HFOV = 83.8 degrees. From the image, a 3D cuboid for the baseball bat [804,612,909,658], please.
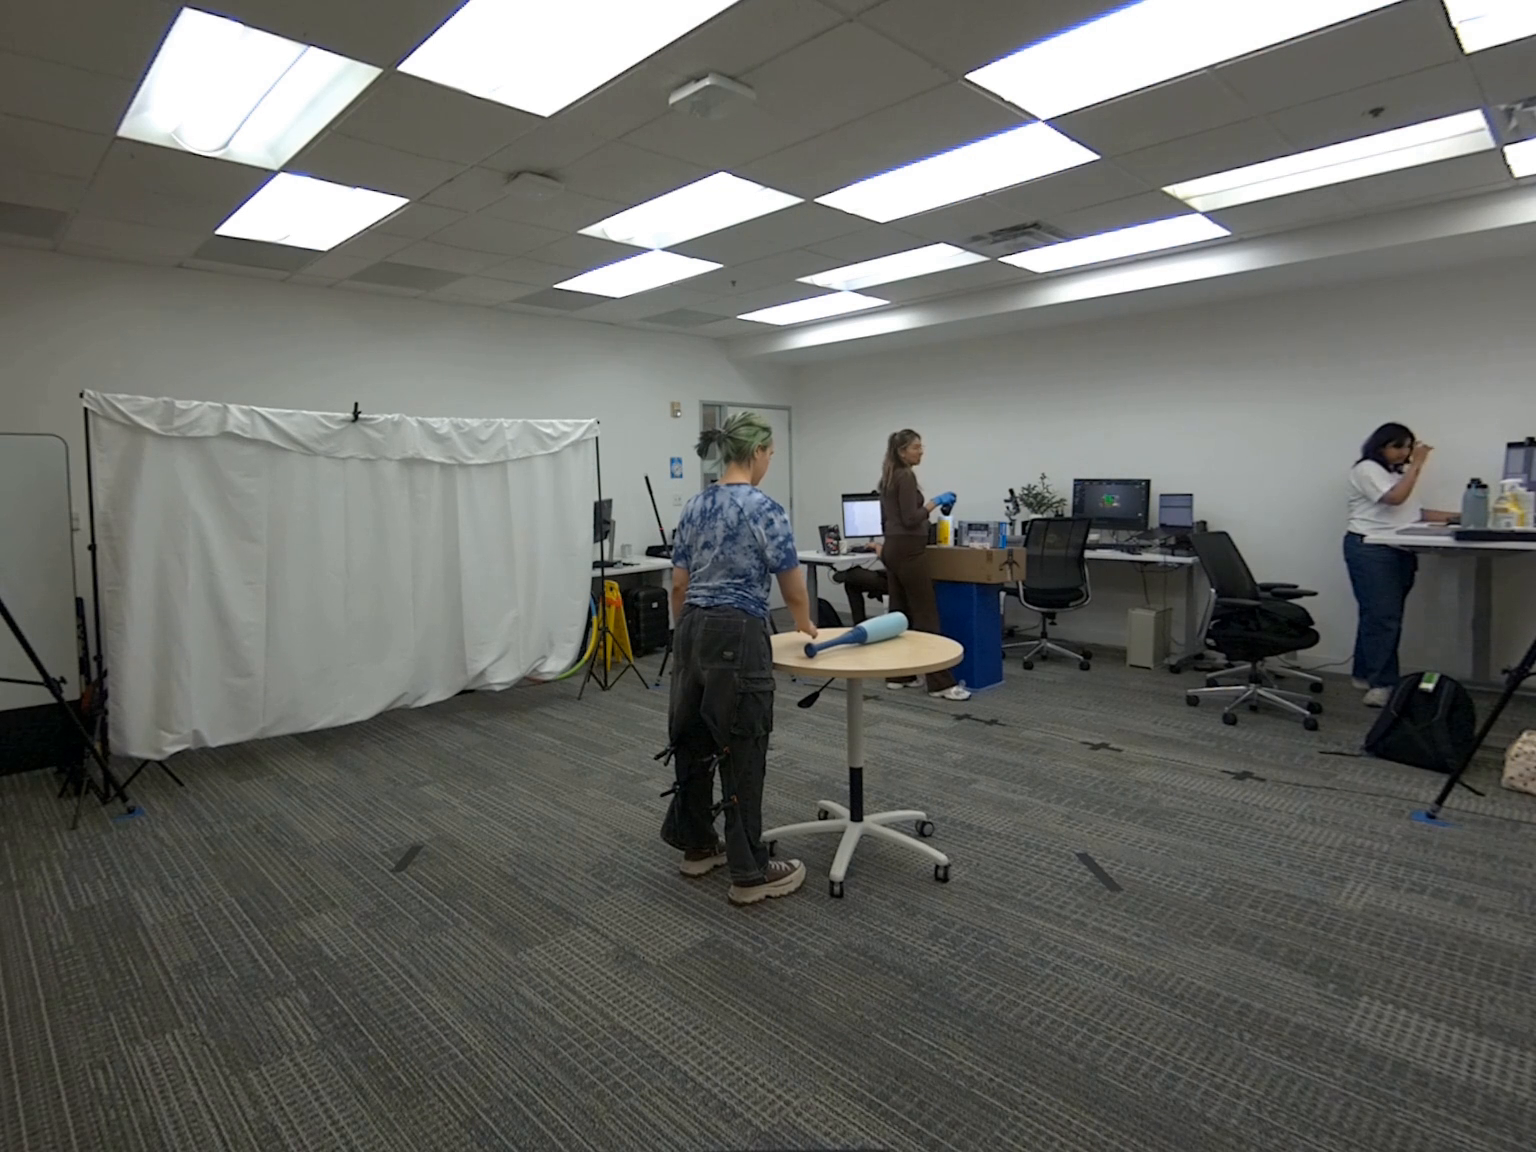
[{"bbox_3d":[0.321,0.222,3.096,0.530,0.088,0.092,-12,11,-44],"label":"baseball bat"}]
